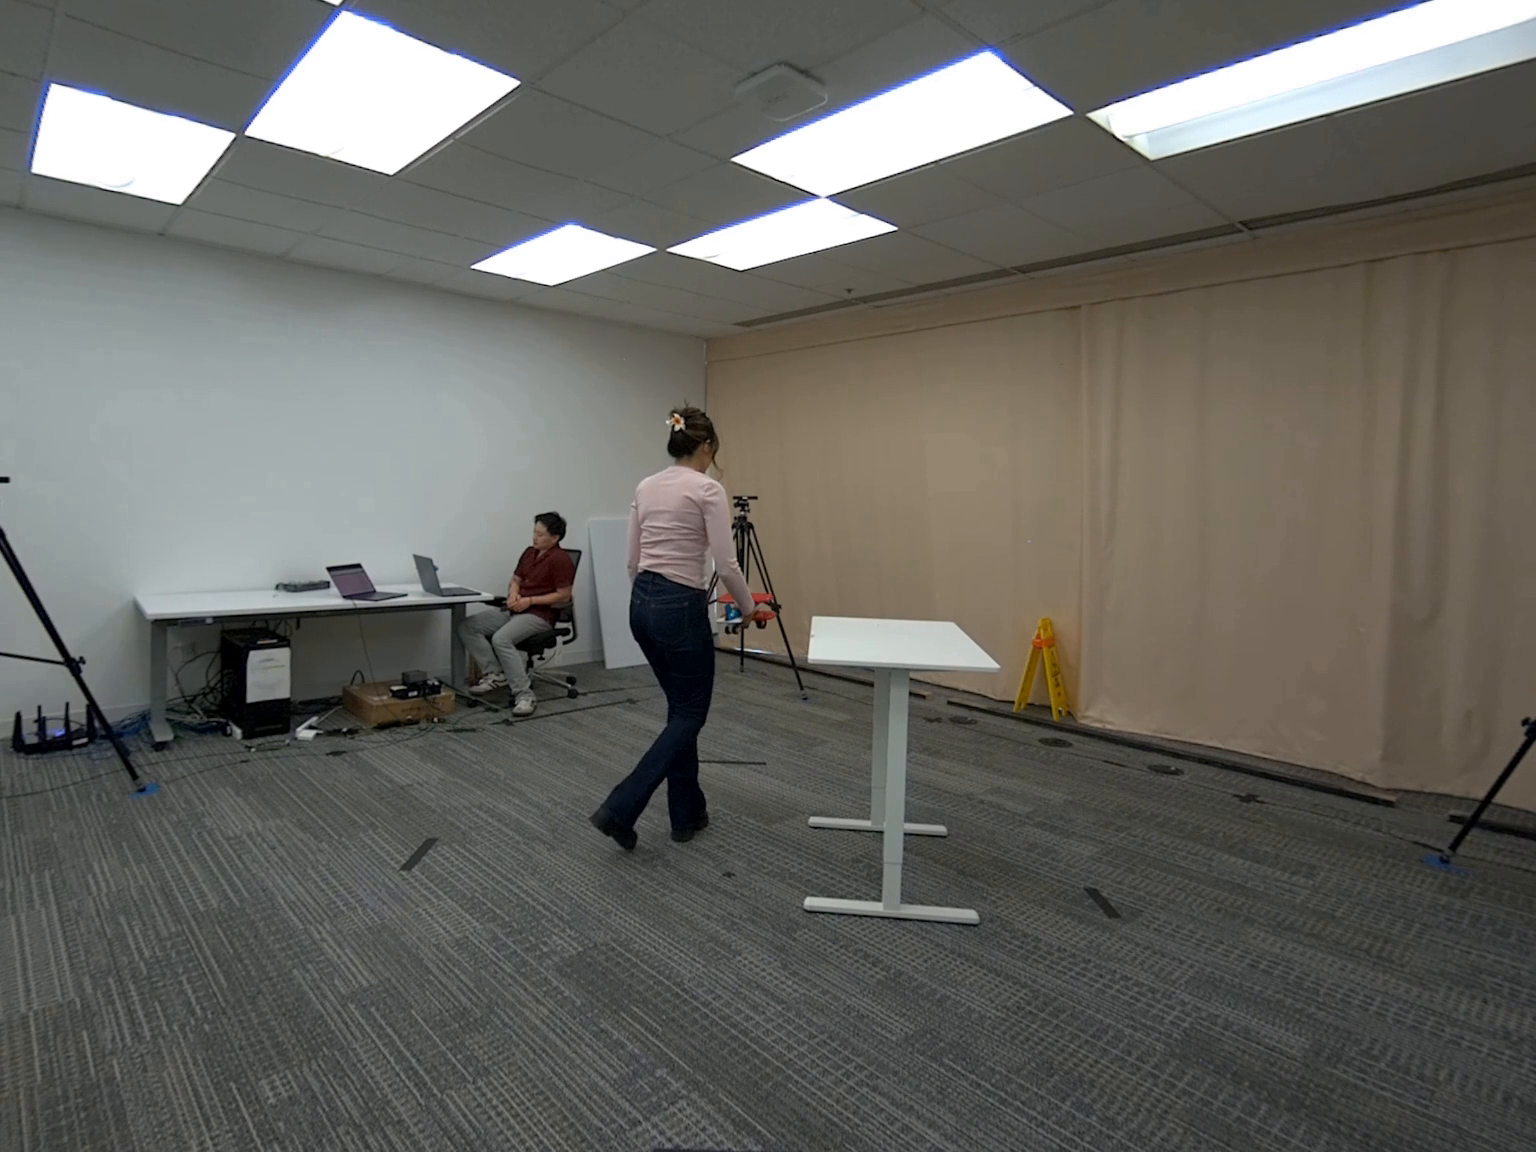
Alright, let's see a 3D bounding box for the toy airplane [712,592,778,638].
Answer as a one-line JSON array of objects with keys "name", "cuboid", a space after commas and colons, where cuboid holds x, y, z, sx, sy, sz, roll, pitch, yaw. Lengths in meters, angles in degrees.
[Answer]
[{"name": "toy airplane", "cuboid": [-0.094, 0.157, 3.521, 0.251, 0.156, 0.259, -3, 0, 2]}]
